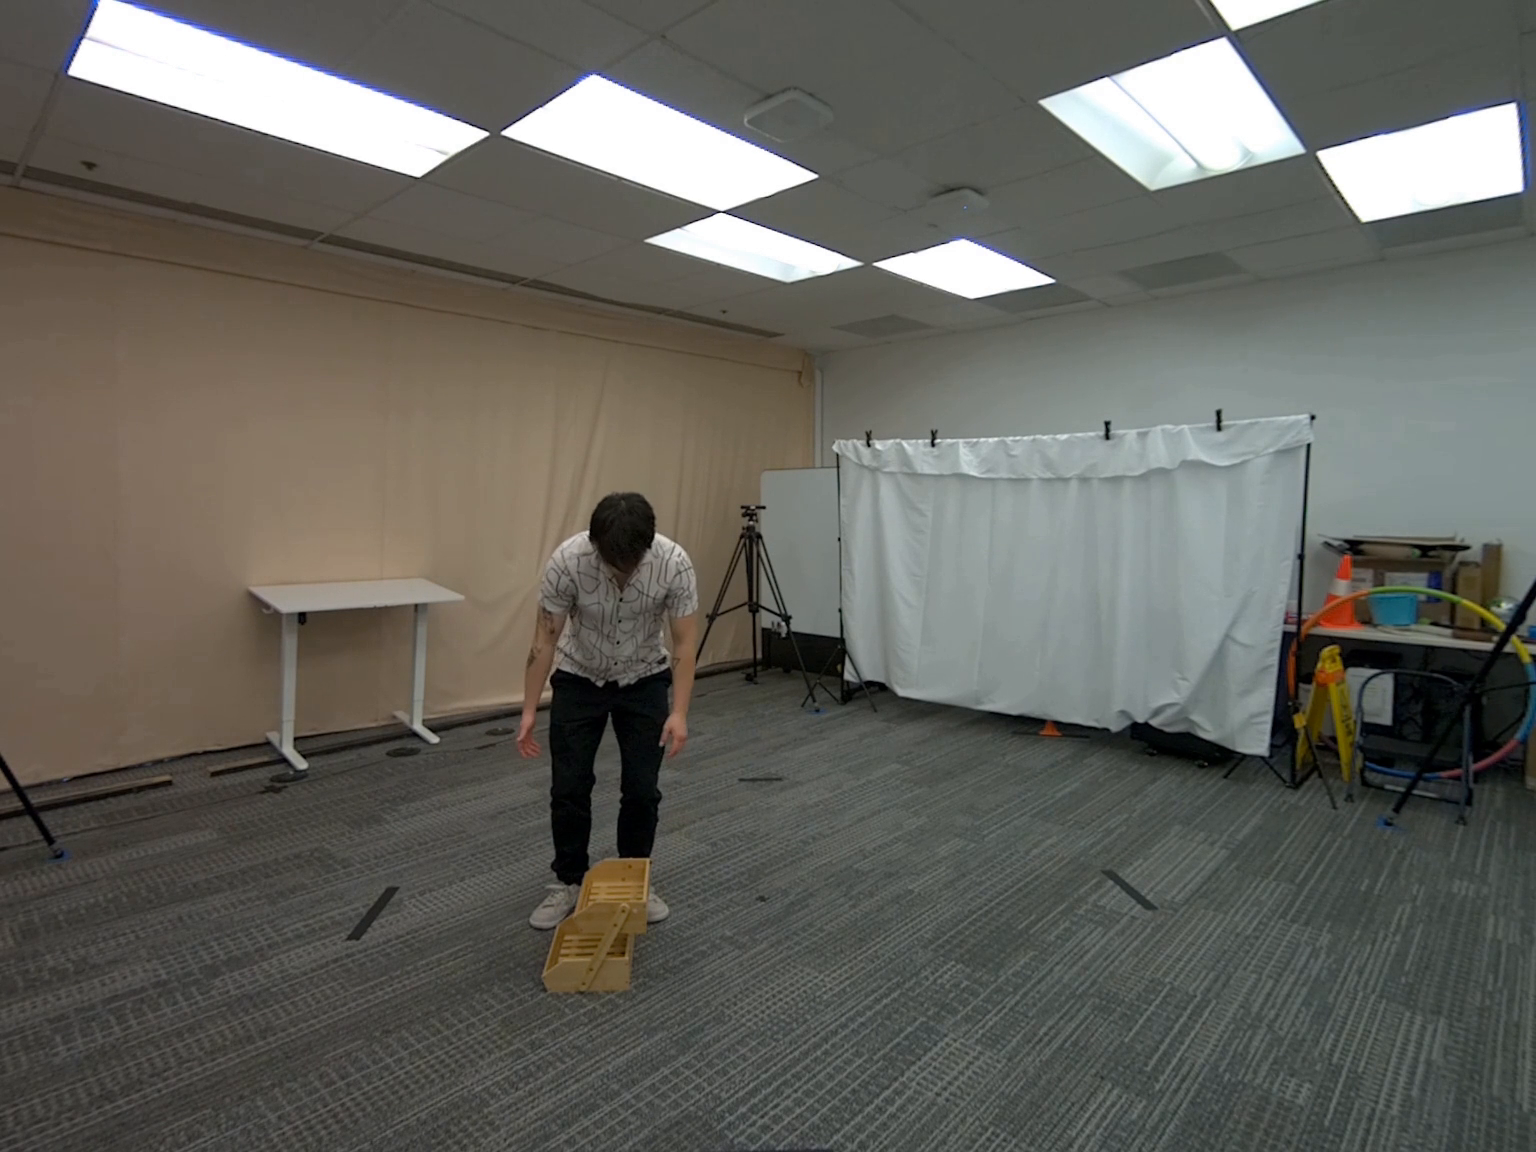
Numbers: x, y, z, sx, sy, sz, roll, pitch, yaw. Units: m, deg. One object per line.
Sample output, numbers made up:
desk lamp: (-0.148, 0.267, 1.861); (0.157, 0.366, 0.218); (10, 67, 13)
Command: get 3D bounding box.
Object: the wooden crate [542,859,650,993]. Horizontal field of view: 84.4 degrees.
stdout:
wooden crate: (-0.516, 1.043, 2.569); (0.301, 0.273, 0.327); (-1, 4, -5)
